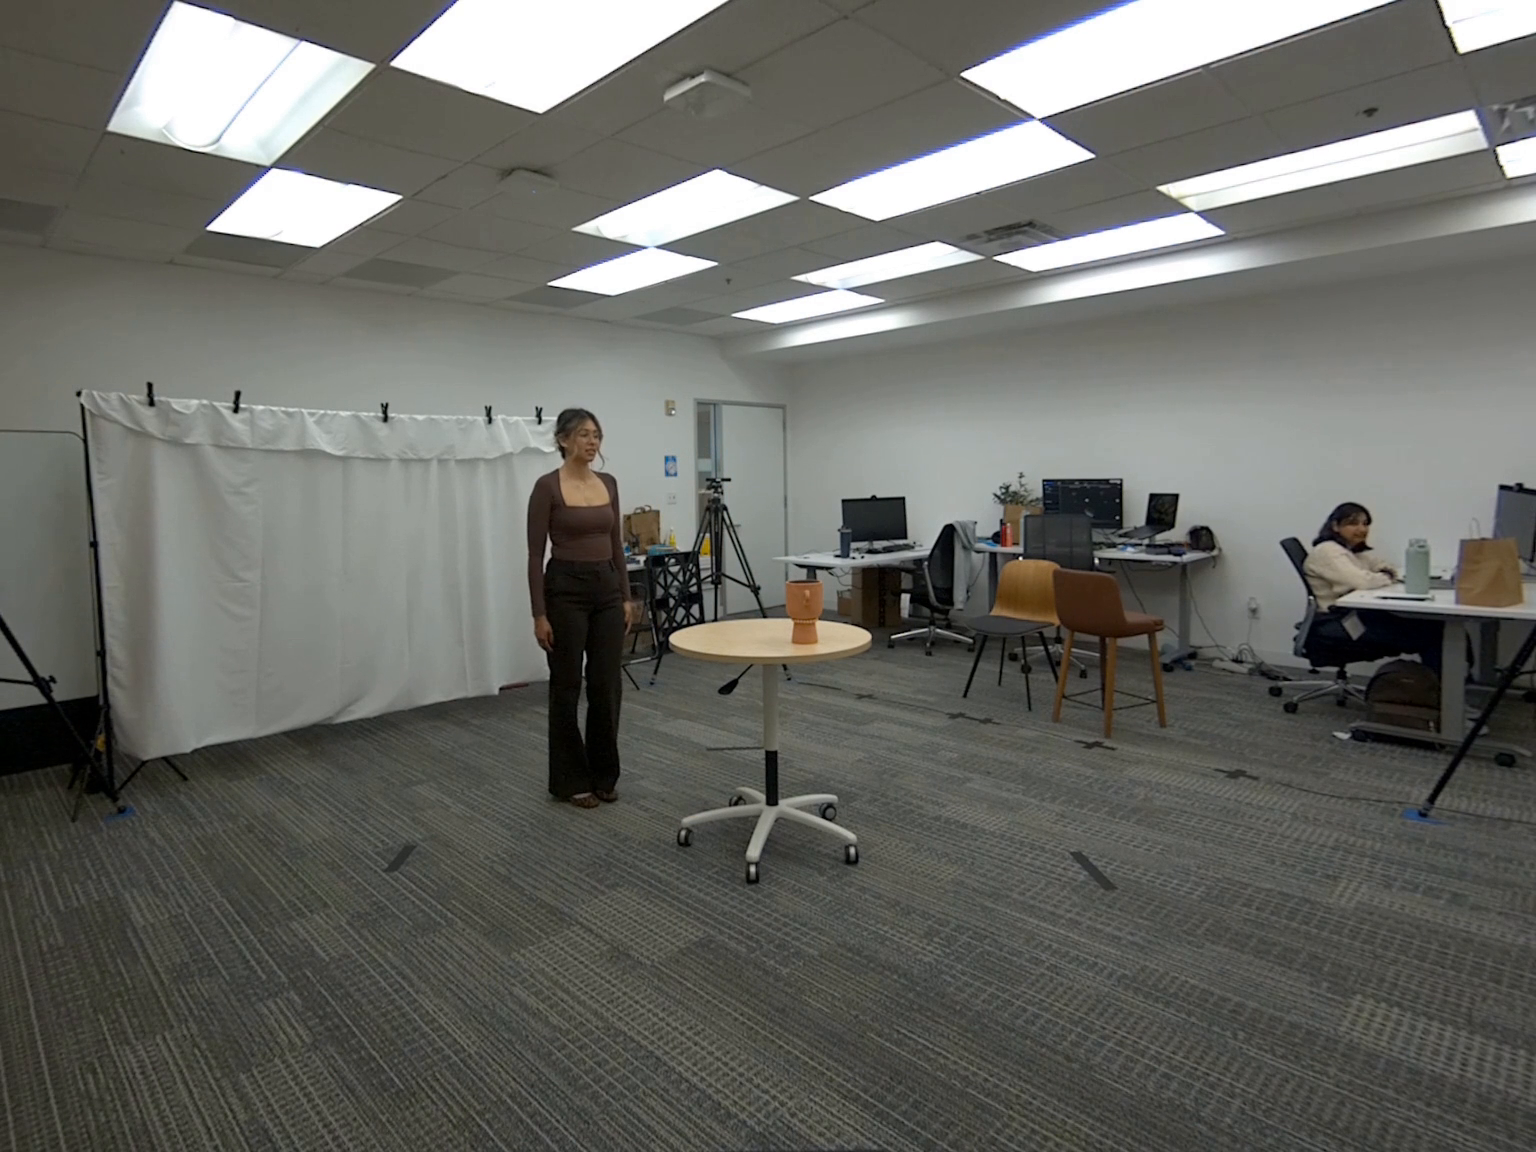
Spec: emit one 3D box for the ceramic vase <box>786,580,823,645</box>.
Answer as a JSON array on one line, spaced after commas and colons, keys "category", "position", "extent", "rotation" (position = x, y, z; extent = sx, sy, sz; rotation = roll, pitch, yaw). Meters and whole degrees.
[{"category": "ceramic vase", "position": [0.137, 0.132, 3.106], "extent": [0.138, 0.219, 0.155], "rotation": [2, 6, 35]}]
